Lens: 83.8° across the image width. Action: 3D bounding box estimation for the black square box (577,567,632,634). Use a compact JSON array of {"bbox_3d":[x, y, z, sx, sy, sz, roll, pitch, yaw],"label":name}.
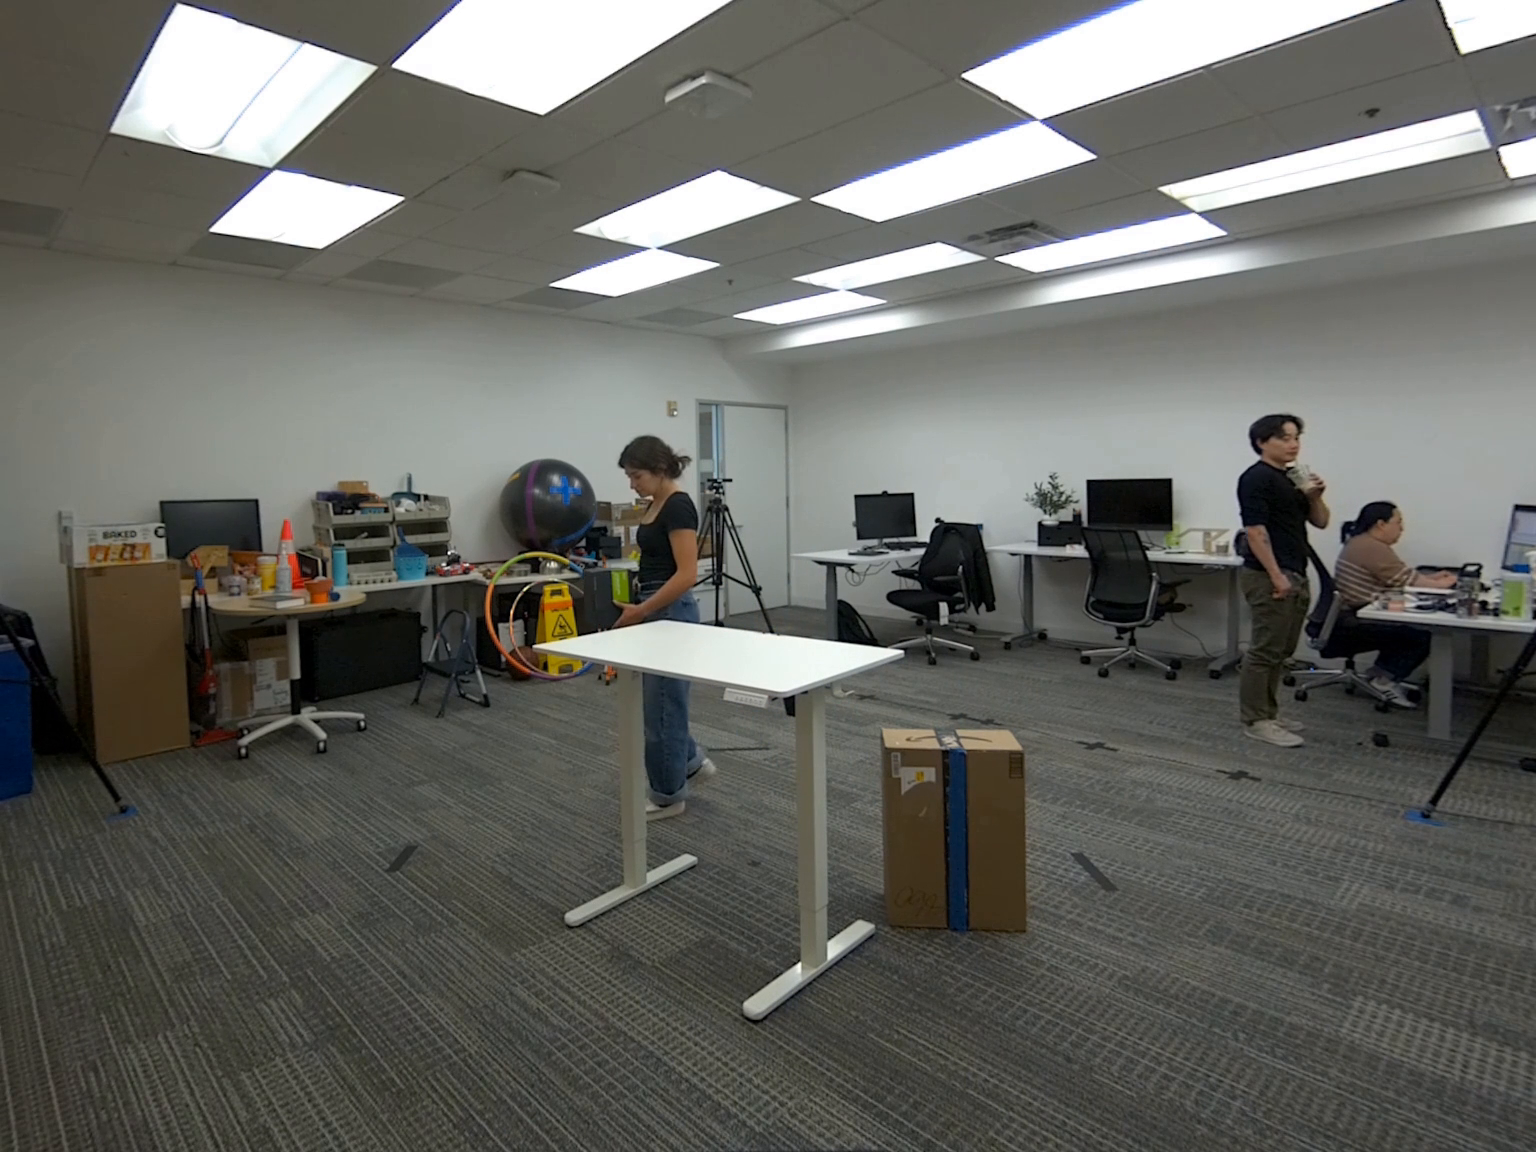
[{"bbox_3d":[-0.646,0.085,3.461,0.152,0.227,0.222,-3,3,-27],"label":"black square box"}]
